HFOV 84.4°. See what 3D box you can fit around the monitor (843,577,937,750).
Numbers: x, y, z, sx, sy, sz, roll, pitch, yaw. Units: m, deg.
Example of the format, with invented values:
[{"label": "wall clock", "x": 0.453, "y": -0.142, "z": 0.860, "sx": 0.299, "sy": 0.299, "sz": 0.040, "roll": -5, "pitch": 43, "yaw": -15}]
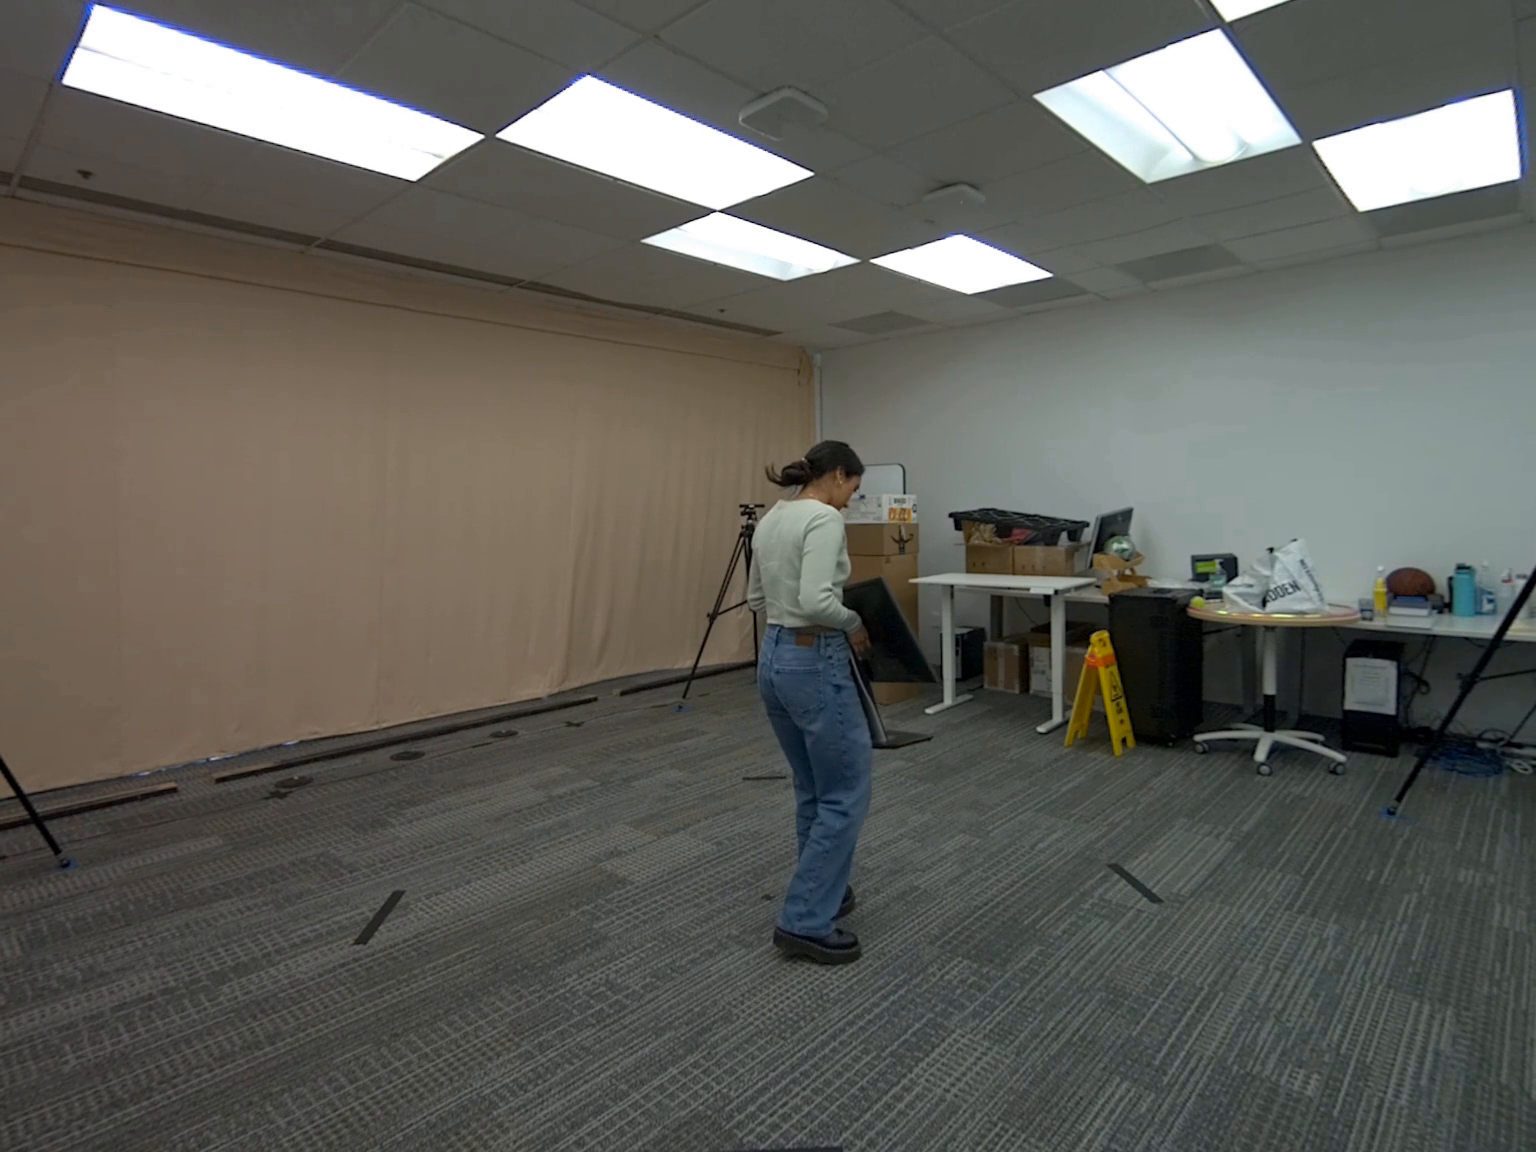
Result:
[{"label": "monitor", "x": 0.341, "y": 0.273, "z": 2.690, "sx": 0.172, "sy": 0.518, "sz": 0.535, "roll": -9, "pitch": -5, "yaw": -16}]
